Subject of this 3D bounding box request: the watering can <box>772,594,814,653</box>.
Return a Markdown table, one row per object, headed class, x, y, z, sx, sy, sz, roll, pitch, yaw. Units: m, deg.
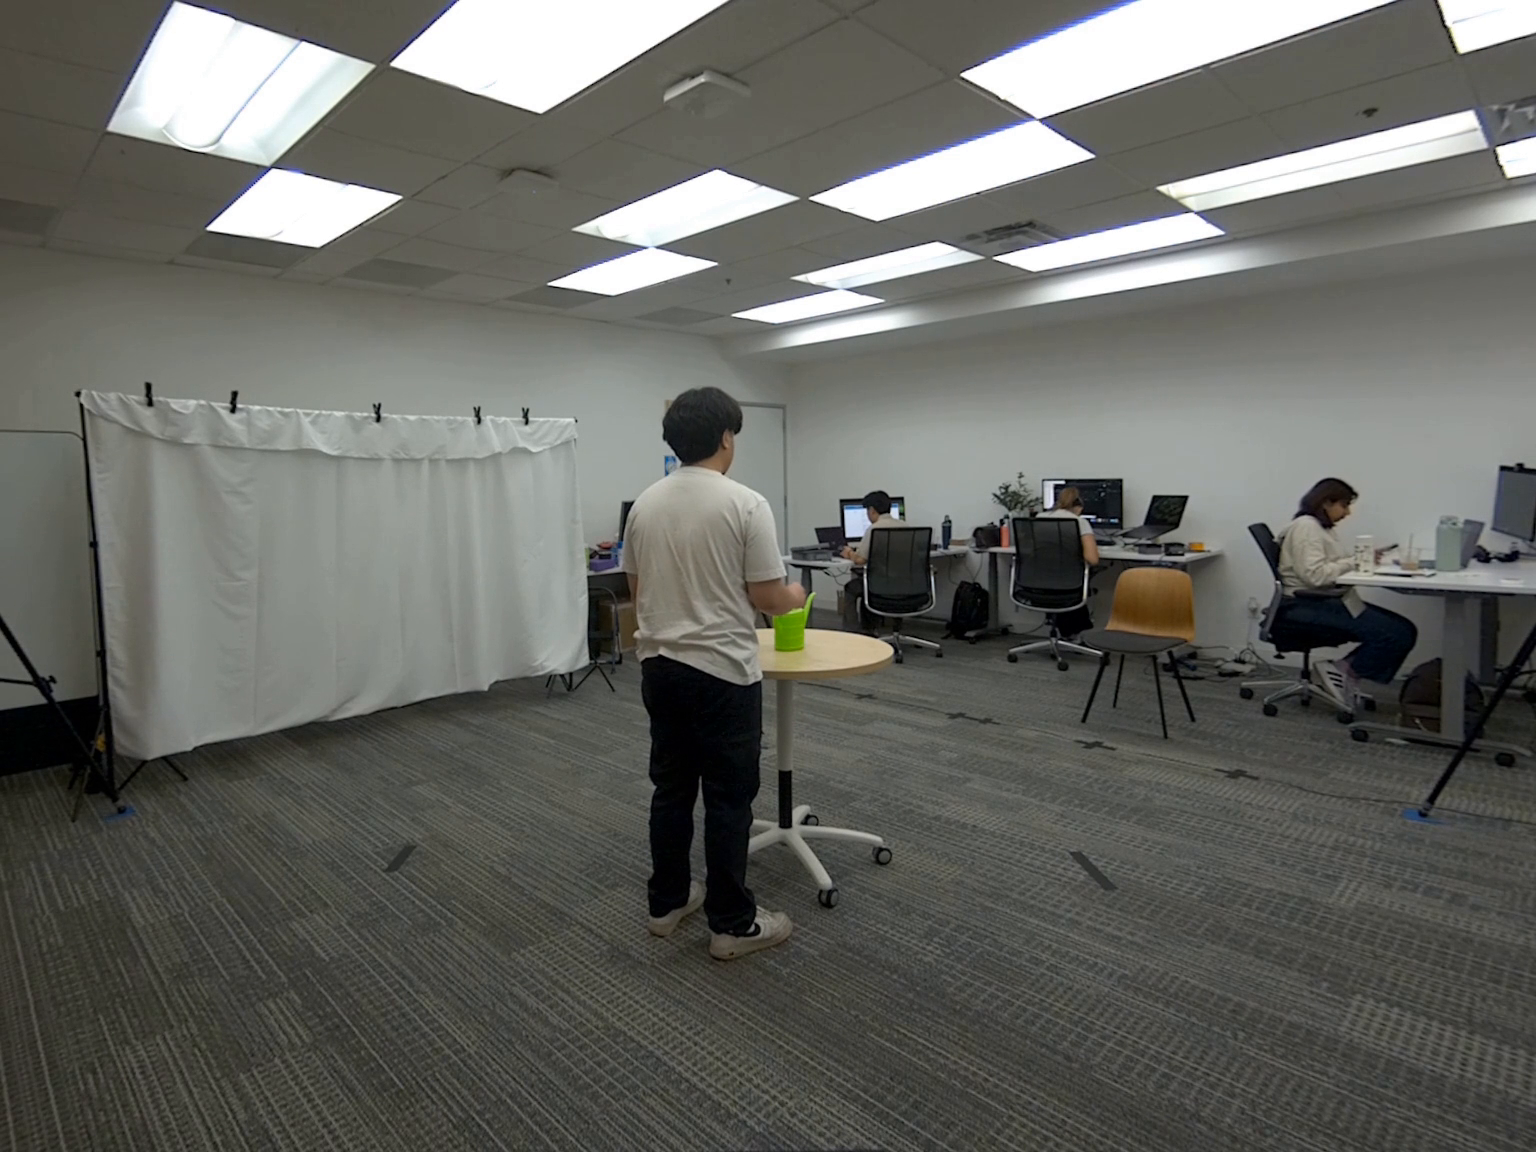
| class | x | y | z | sx | sy | sz | roll | pitch | yaw |
| --- | --- | --- | --- | --- | --- | --- | --- | --- | --- |
| watering can | 0.114 | 0.166 | 3.055 | 0.101 | 0.176 | 0.271 | 5 | 10 | 43 |
